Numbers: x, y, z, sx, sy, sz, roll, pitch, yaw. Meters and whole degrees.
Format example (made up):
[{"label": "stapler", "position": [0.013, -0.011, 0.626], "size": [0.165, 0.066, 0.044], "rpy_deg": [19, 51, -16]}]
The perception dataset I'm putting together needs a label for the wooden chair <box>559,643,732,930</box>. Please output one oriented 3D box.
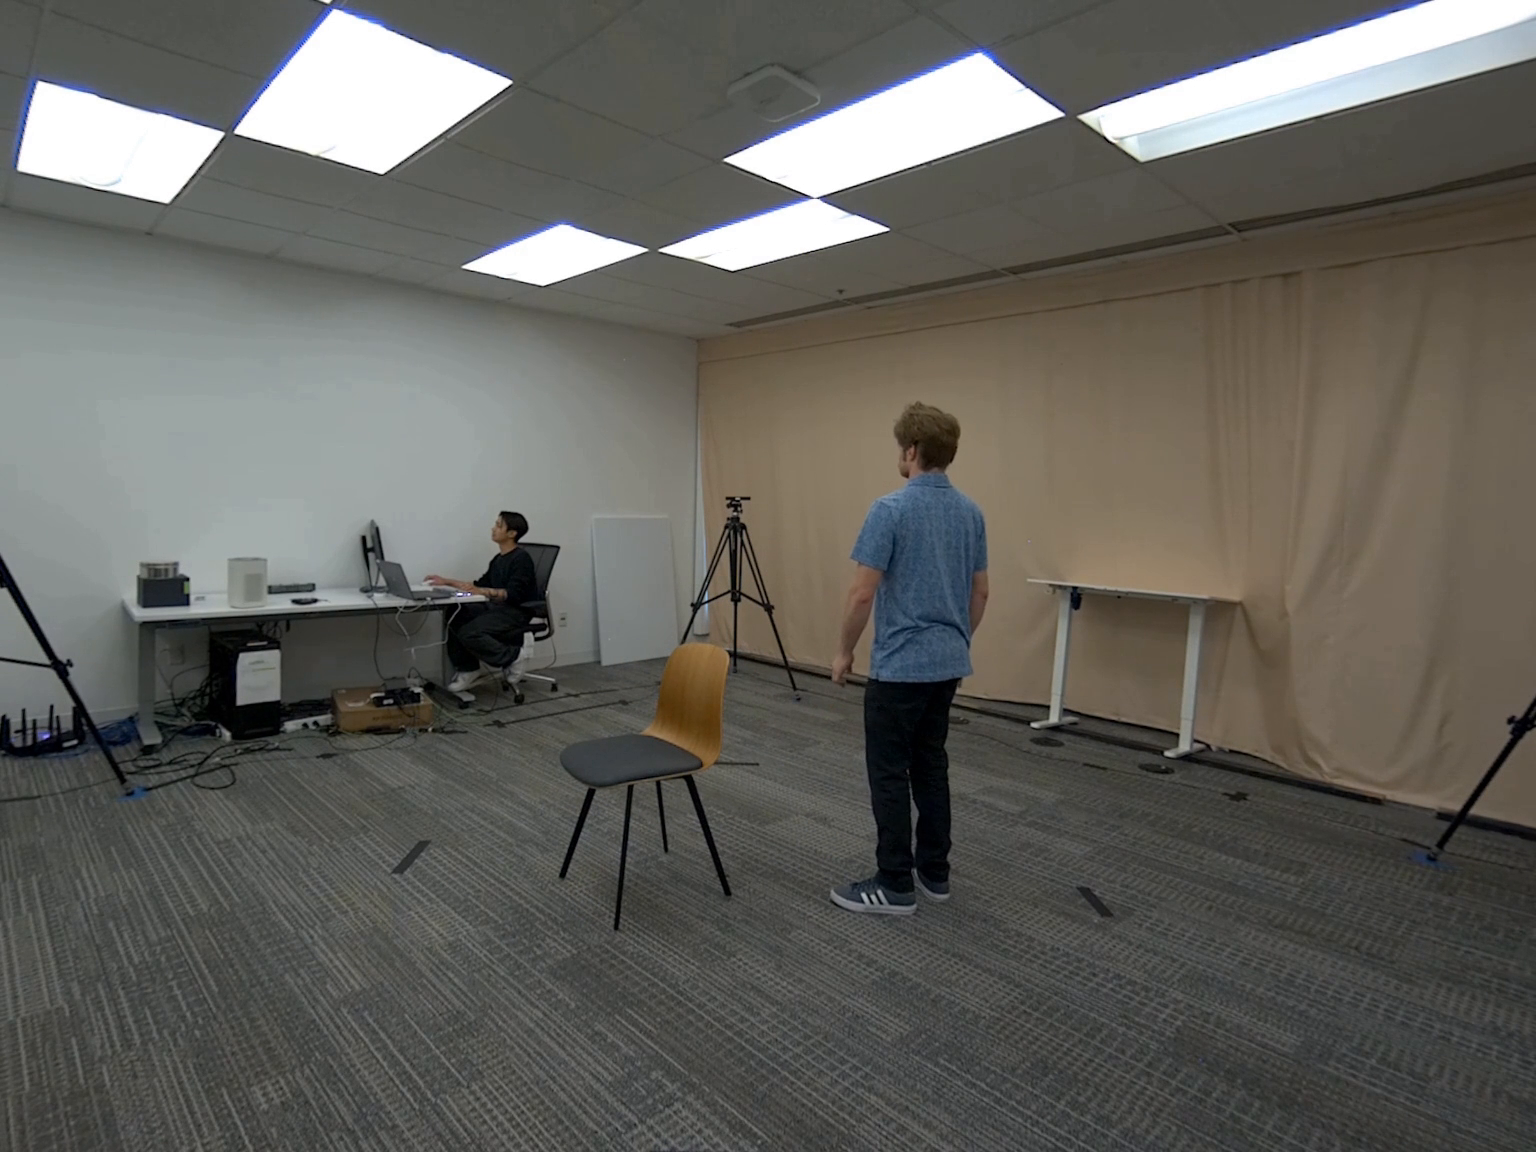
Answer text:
[{"label": "wooden chair", "position": [-0.440, 0.682, 2.971], "size": [0.510, 0.877, 0.490], "rpy_deg": [4, 1, -36]}]
